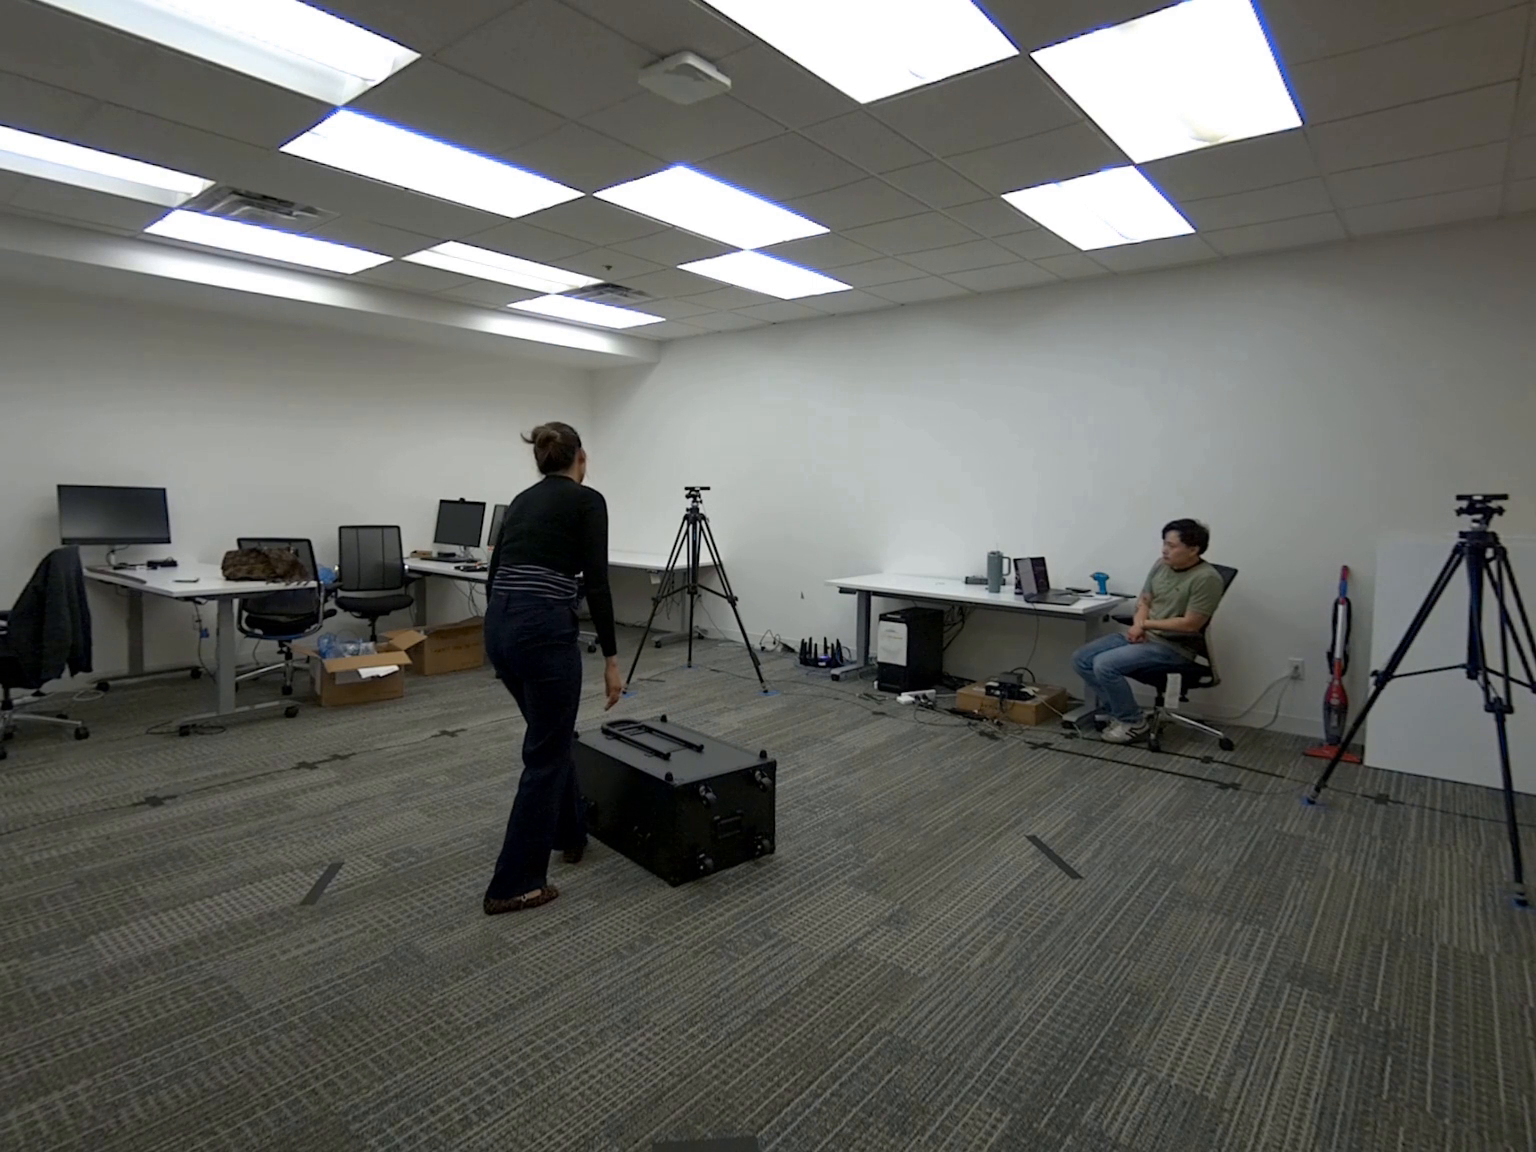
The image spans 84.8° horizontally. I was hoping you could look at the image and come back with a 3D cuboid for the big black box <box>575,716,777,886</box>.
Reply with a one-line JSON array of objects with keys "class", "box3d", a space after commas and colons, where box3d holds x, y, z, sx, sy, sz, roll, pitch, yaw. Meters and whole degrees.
[{"class": "big black box", "box3d": [-0.437, 0.857, 3.412, 0.506, 0.395, 0.891, -4, 7, -41]}]
